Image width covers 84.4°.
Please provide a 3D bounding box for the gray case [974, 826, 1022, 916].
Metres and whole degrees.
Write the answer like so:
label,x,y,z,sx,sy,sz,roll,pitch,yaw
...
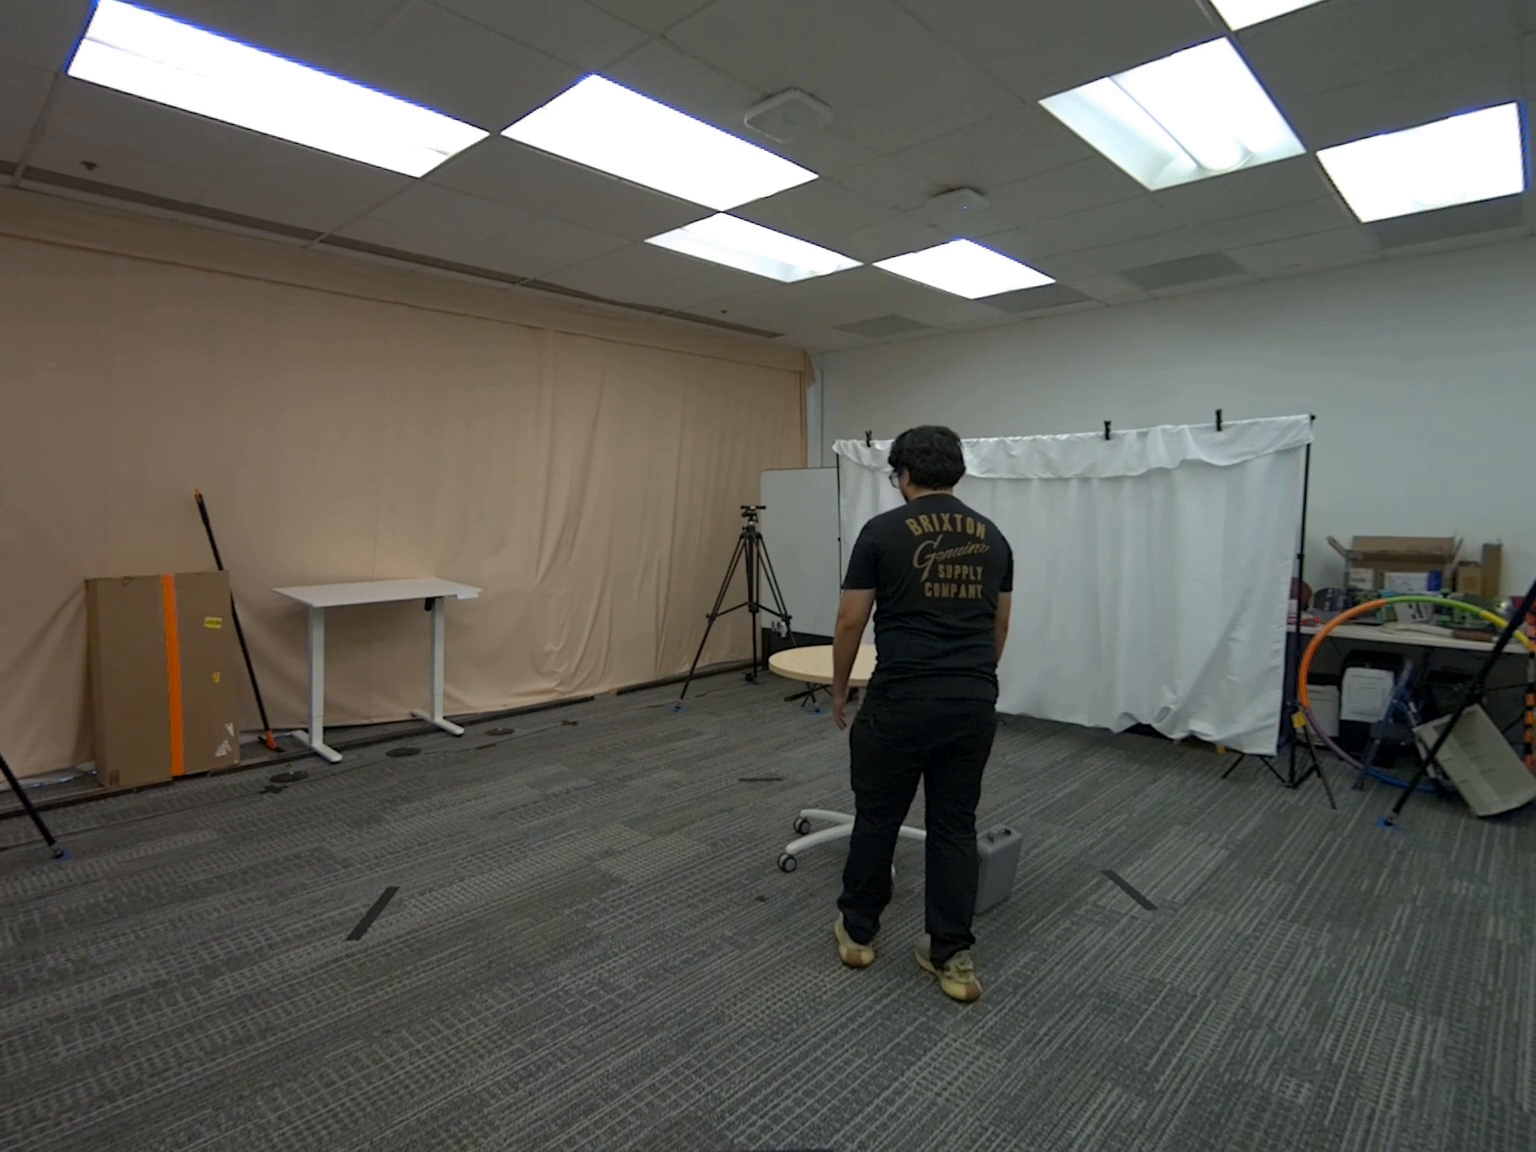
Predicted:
label,x,y,z,sx,sy,sz,roll,pitch,yaw
gray case,0.776,1.014,2.918,0.249,0.259,0.108,-1,13,-44
